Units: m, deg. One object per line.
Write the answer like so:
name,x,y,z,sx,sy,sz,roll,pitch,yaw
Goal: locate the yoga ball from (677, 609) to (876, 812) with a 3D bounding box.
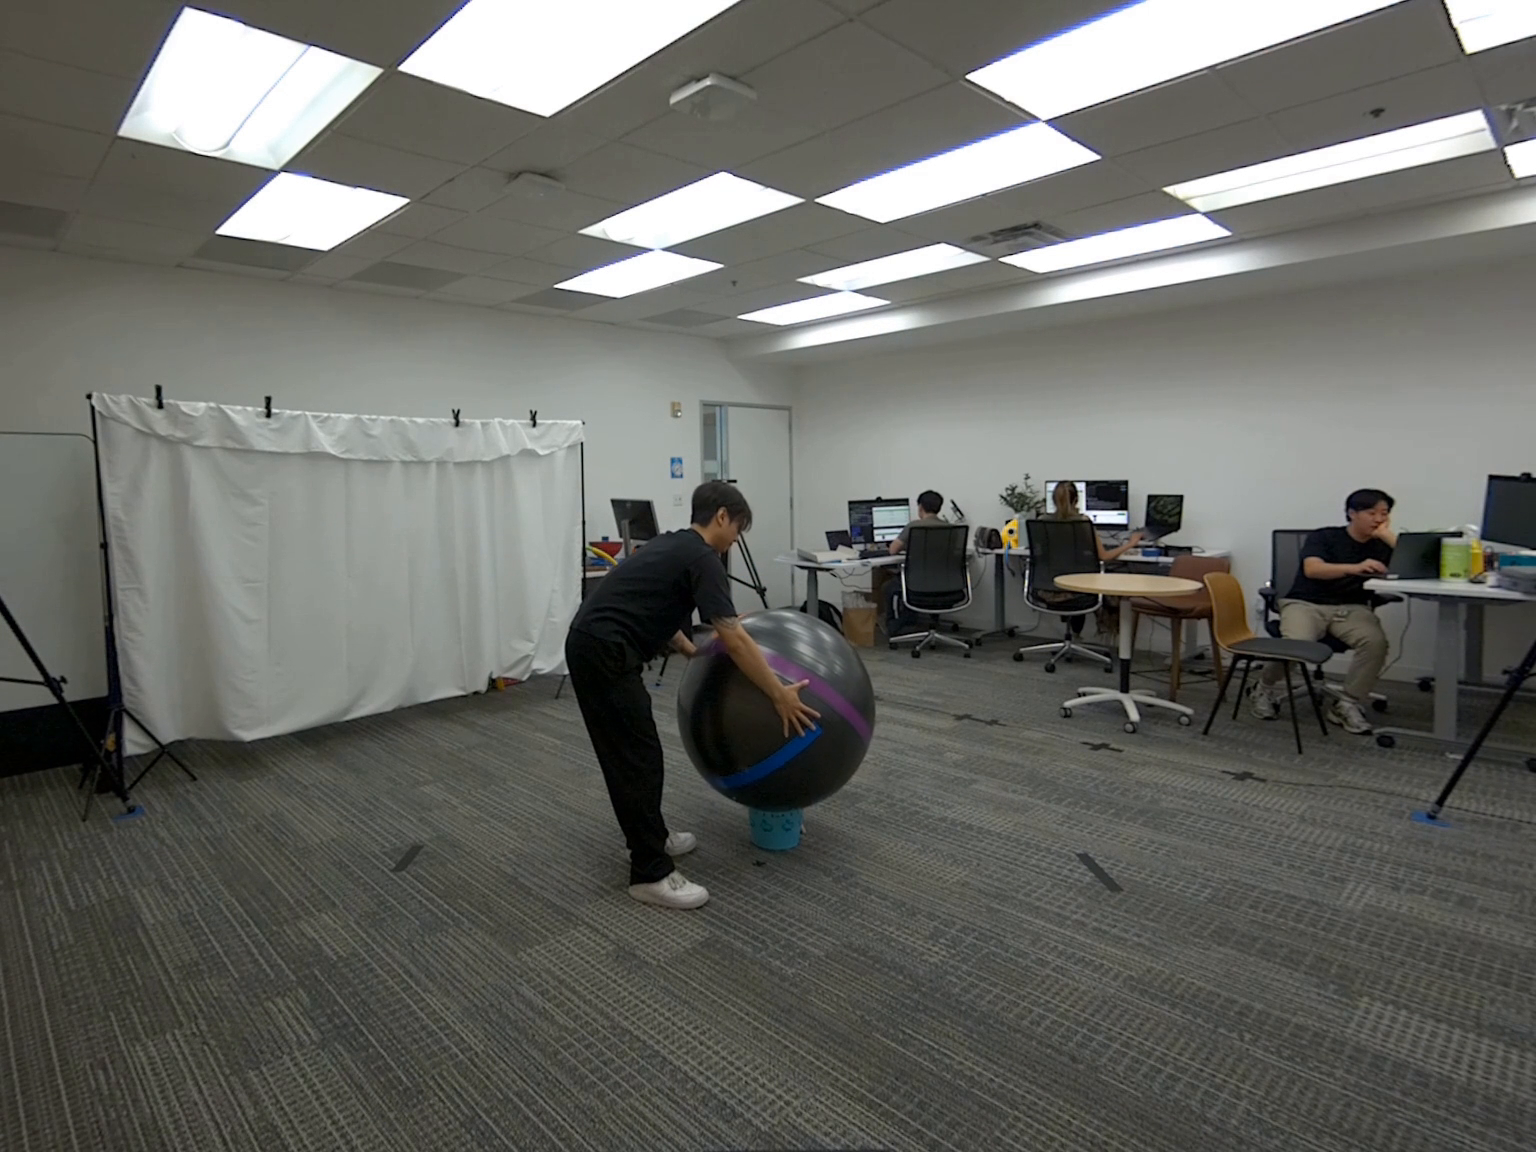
yoga ball,0.027,0.513,3.301,0.757,0.755,0.762,-1,5,-2
